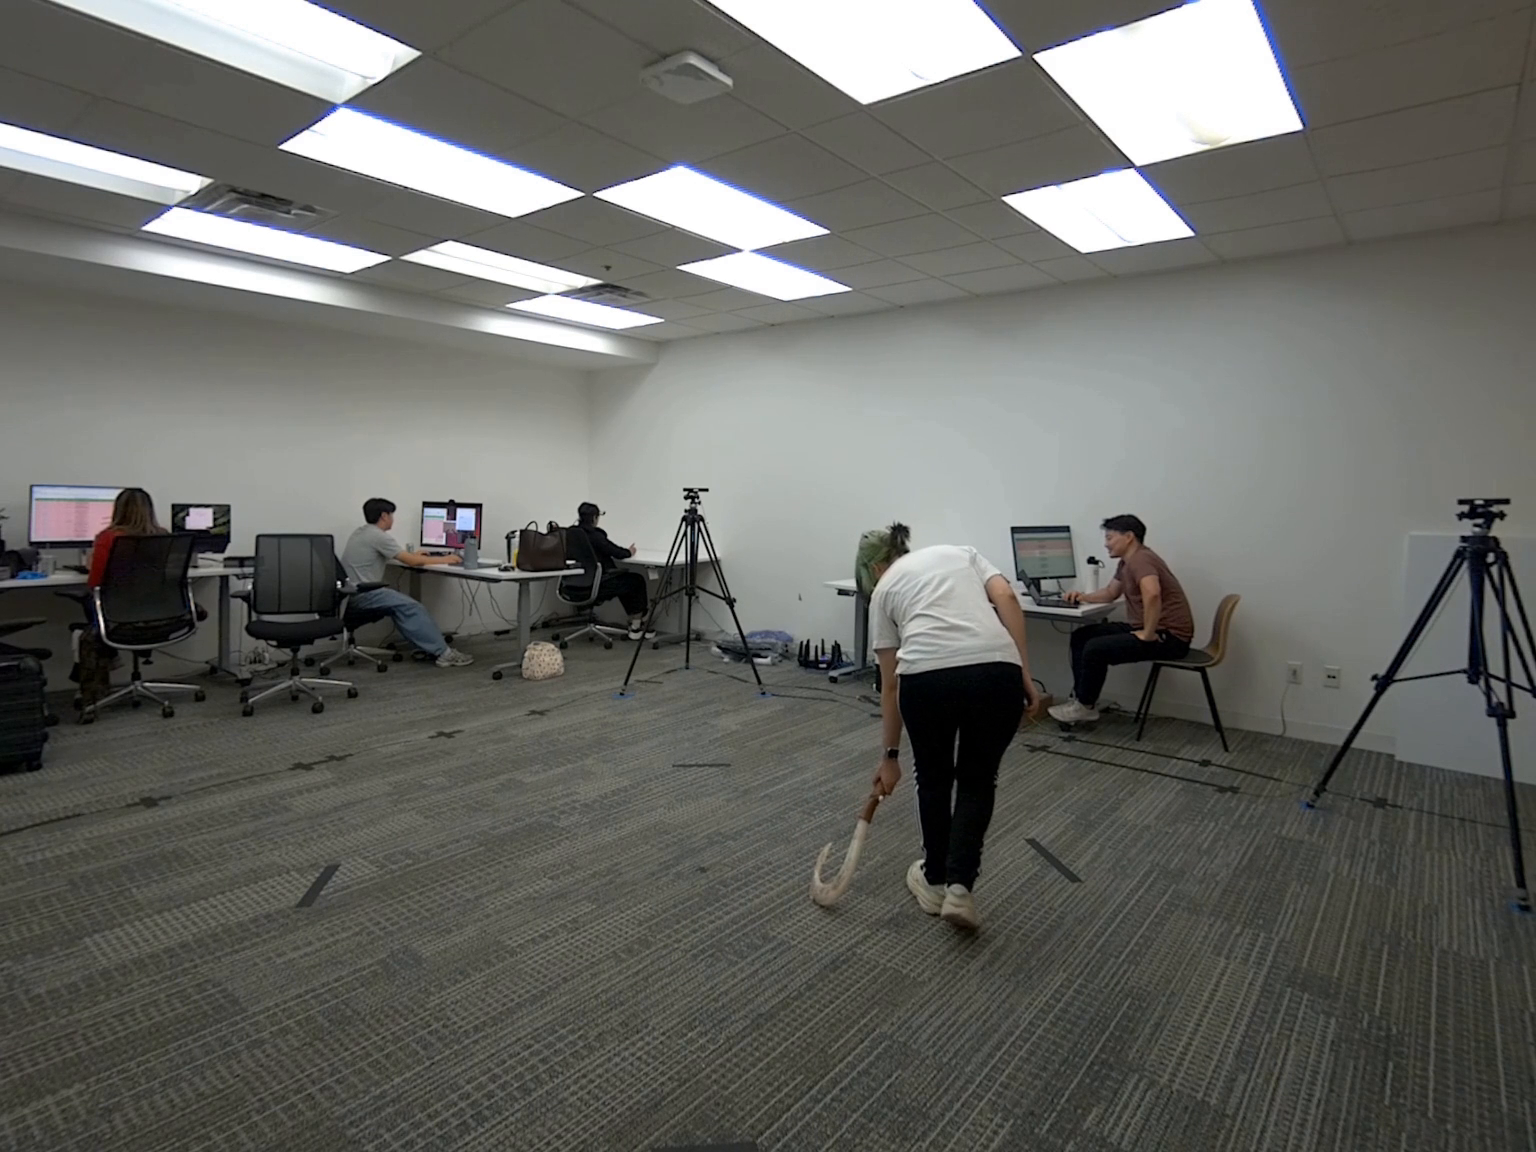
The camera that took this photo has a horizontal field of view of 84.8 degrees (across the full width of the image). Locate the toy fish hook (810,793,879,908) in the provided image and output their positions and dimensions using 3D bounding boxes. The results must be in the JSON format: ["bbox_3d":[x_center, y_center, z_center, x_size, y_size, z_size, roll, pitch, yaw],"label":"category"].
[{"bbox_3d":[0.280,0.887,2.938,0.047,0.509,0.228,38,-20,-17],"label":"toy fish hook"}]
